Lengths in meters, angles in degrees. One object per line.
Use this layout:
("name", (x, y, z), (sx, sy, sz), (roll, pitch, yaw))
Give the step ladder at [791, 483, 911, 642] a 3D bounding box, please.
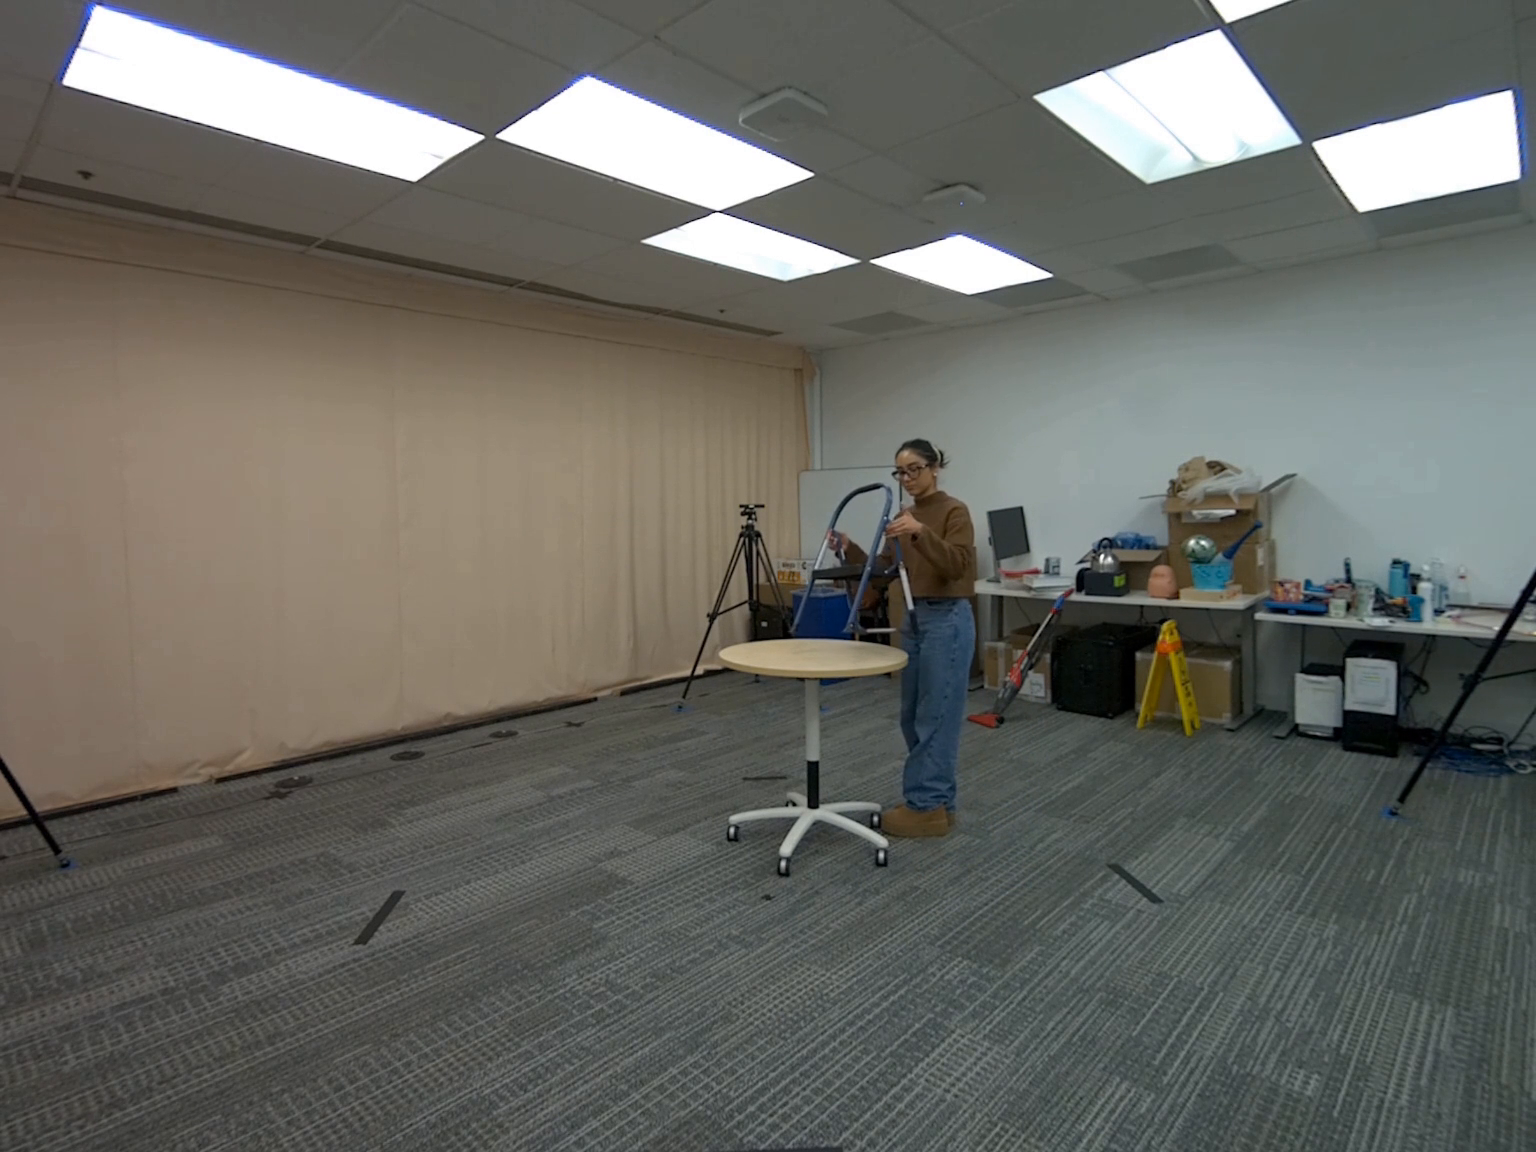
("step ladder", (0.357, -0.068, 3.408), (0.340, 0.608, 0.441), (3, -6, -28))
